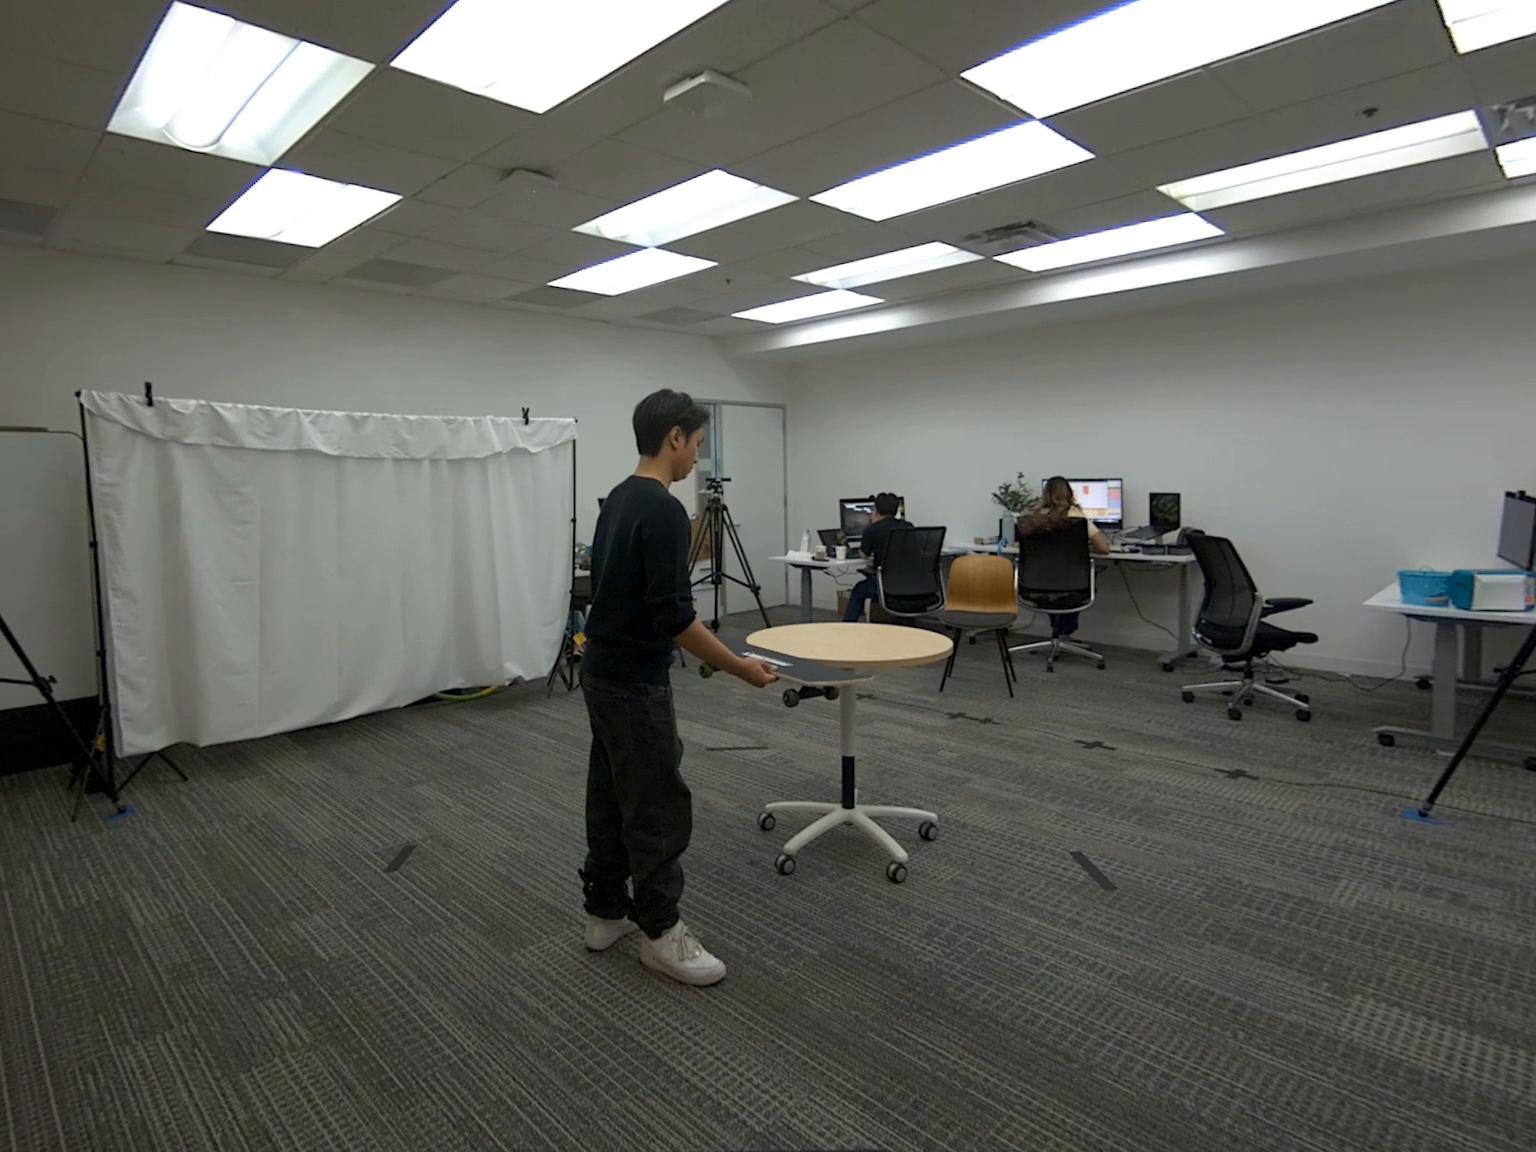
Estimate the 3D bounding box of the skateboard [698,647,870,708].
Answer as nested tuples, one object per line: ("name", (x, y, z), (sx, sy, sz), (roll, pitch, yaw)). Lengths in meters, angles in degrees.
("skateboard", (-0.009, 0.289, 2.528), (0.188, 0.110, 0.810), (-3, 6, -39))
